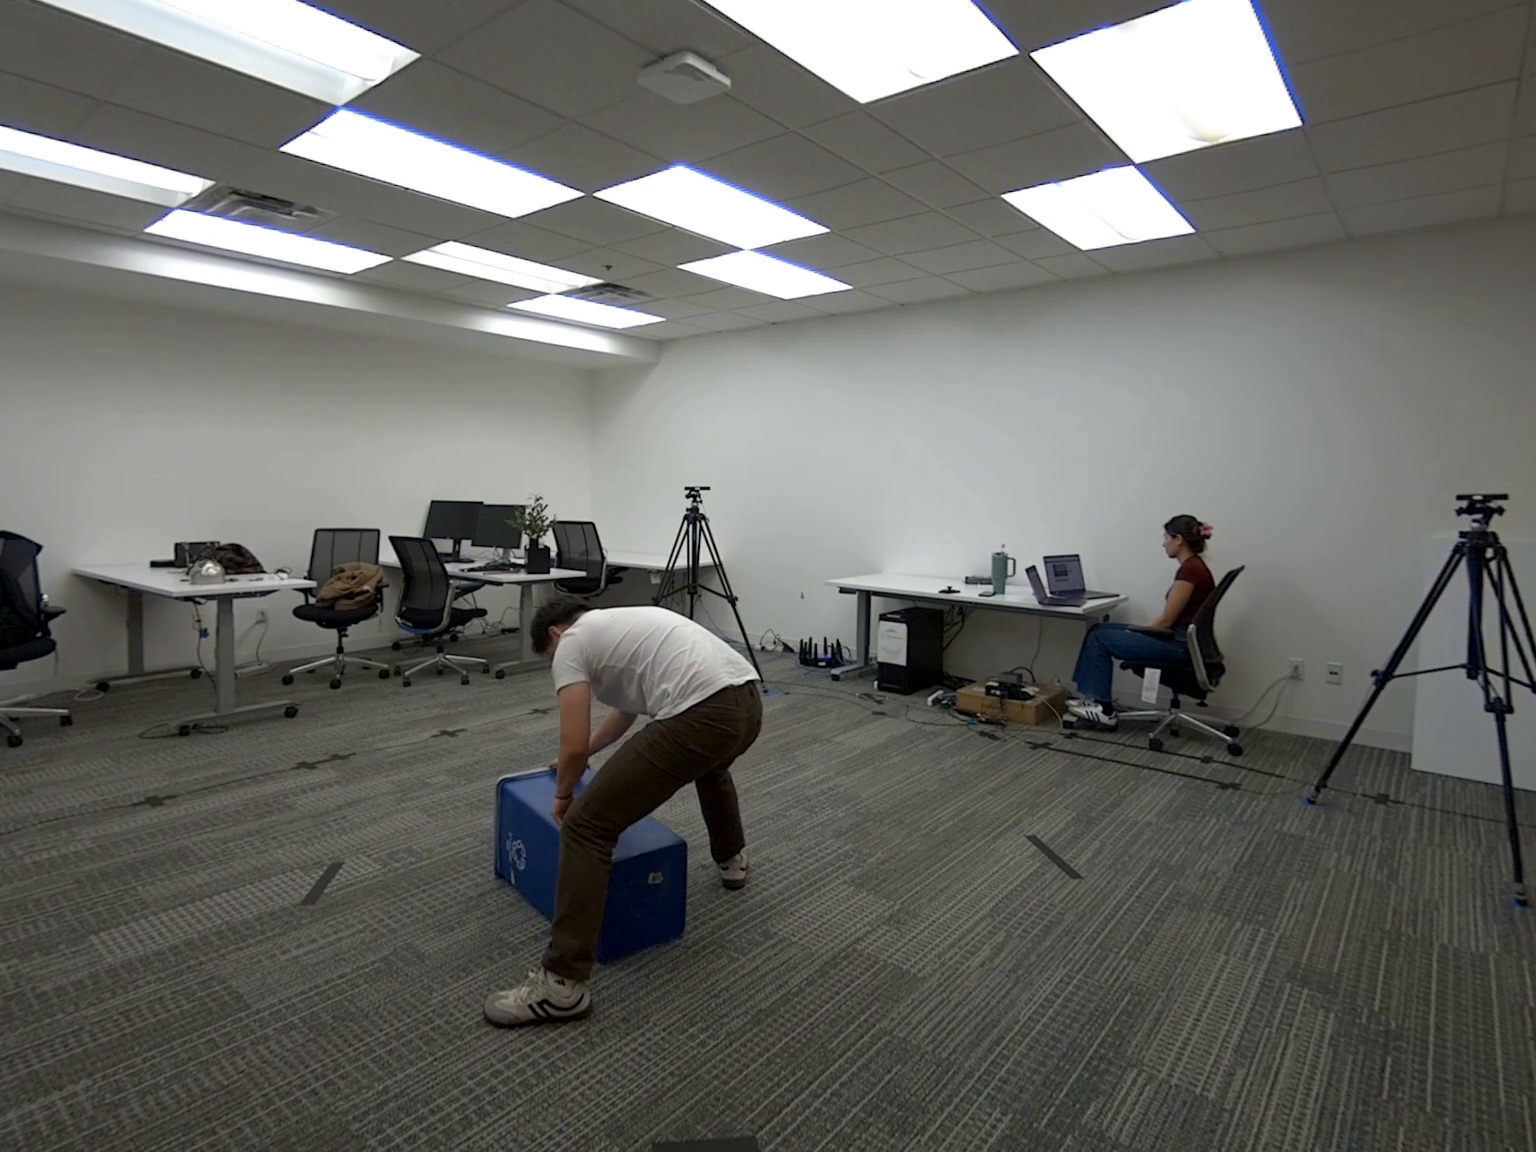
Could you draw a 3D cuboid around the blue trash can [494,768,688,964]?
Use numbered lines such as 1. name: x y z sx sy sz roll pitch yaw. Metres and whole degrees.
1. blue trash can: -0.609 0.919 2.805 0.363 0.376 0.739 -1 7 -39
